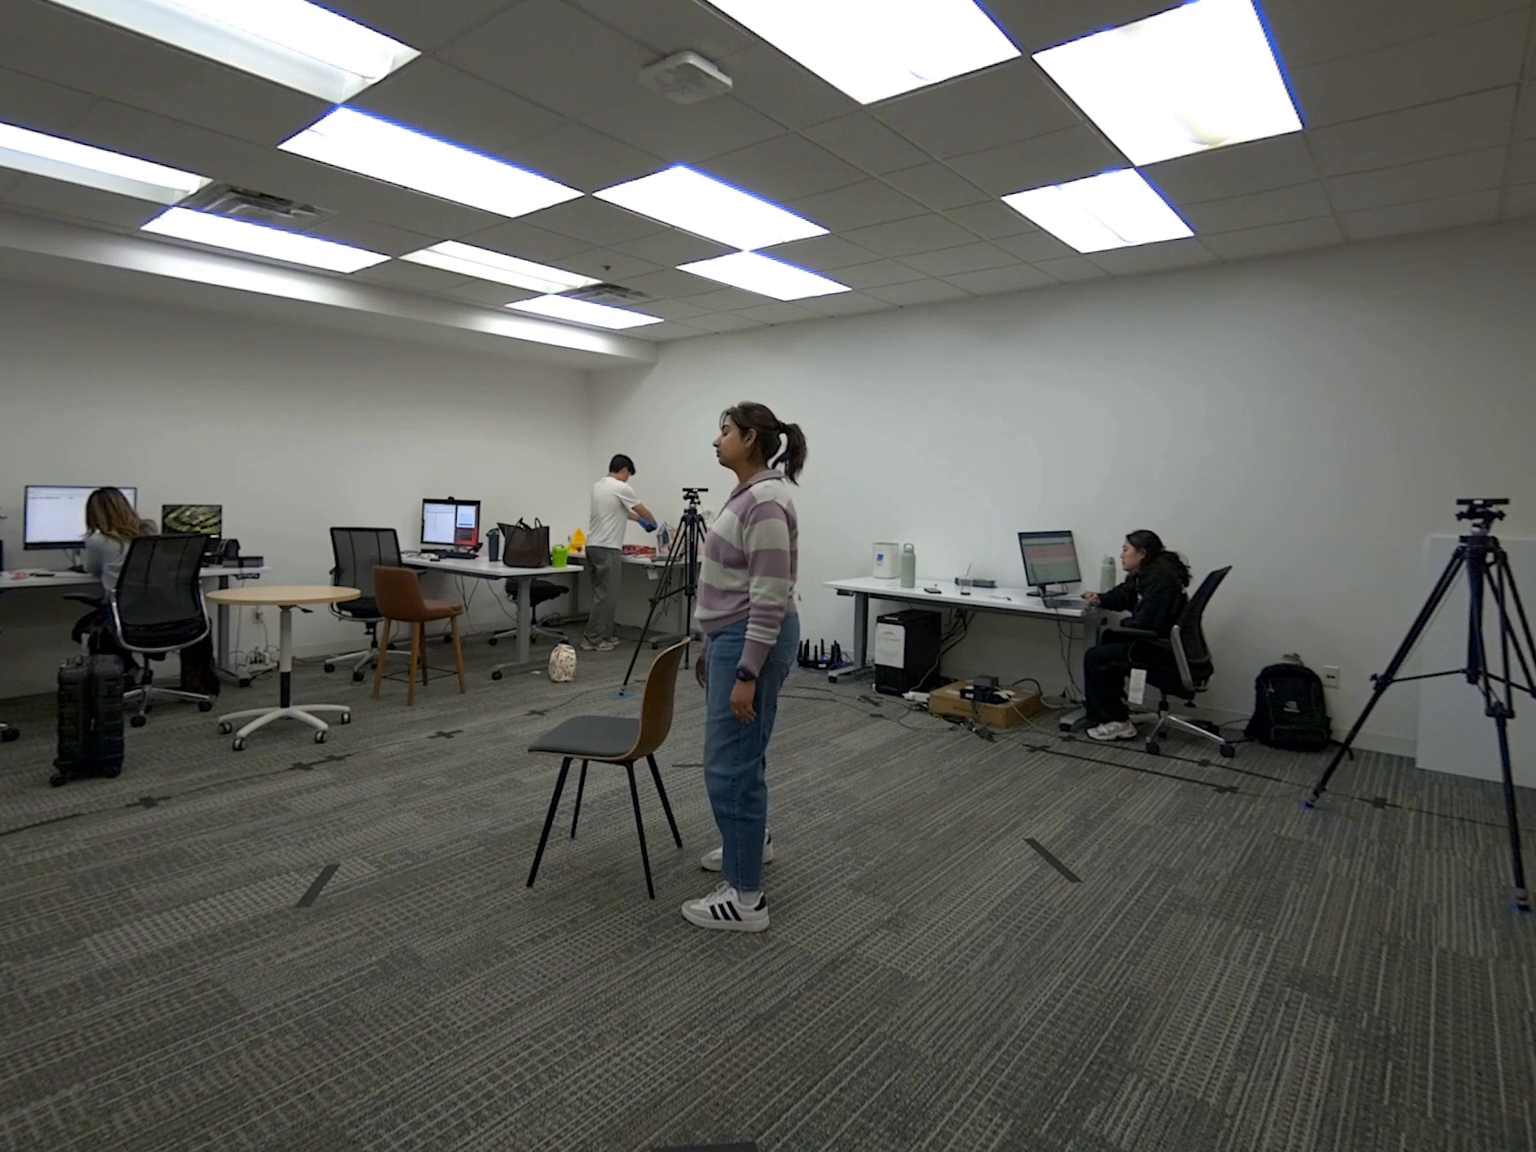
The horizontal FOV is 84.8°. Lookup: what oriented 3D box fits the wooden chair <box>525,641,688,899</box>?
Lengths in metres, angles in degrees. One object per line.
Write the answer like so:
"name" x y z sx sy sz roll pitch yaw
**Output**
"wooden chair" -0.595 0.637 3.102 0.529 0.875 0.474 6 4 8
